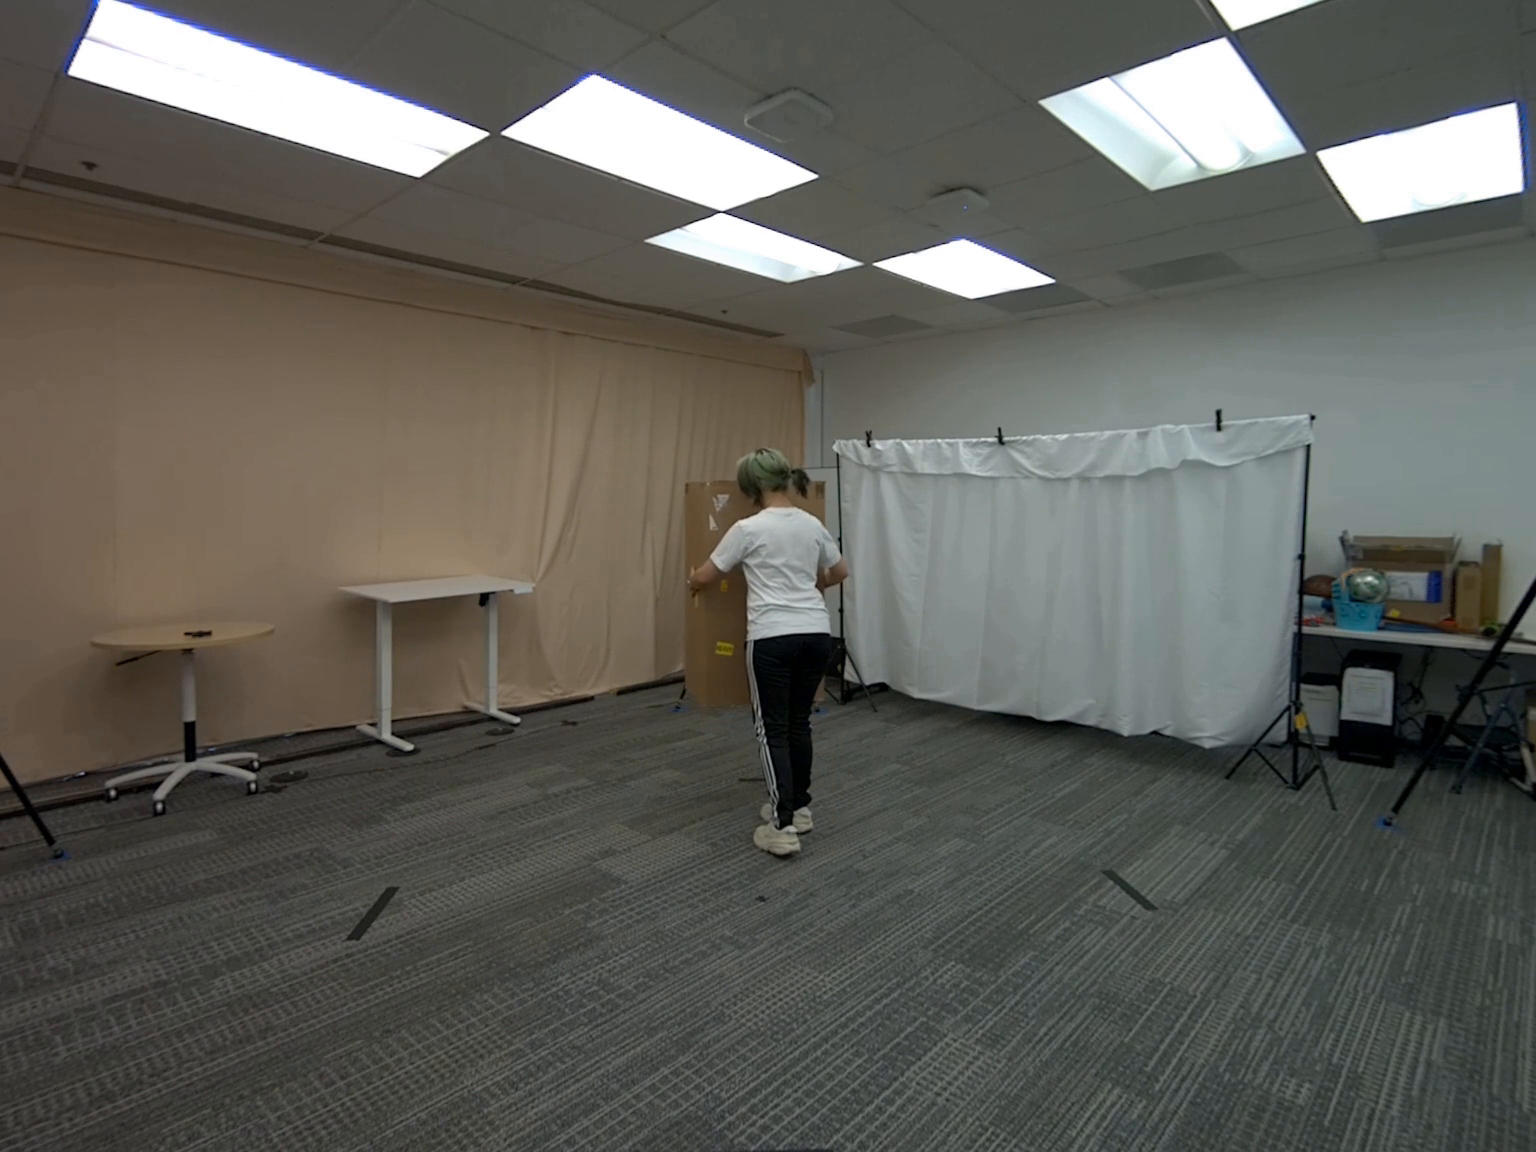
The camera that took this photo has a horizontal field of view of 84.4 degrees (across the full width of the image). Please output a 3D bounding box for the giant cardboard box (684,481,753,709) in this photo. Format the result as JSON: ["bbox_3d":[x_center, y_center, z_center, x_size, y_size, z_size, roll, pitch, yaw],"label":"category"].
[{"bbox_3d":[-0.076,0.070,4.017,0.574,1.025,0.455,-1,3,-16],"label":"giant cardboard box"}]
